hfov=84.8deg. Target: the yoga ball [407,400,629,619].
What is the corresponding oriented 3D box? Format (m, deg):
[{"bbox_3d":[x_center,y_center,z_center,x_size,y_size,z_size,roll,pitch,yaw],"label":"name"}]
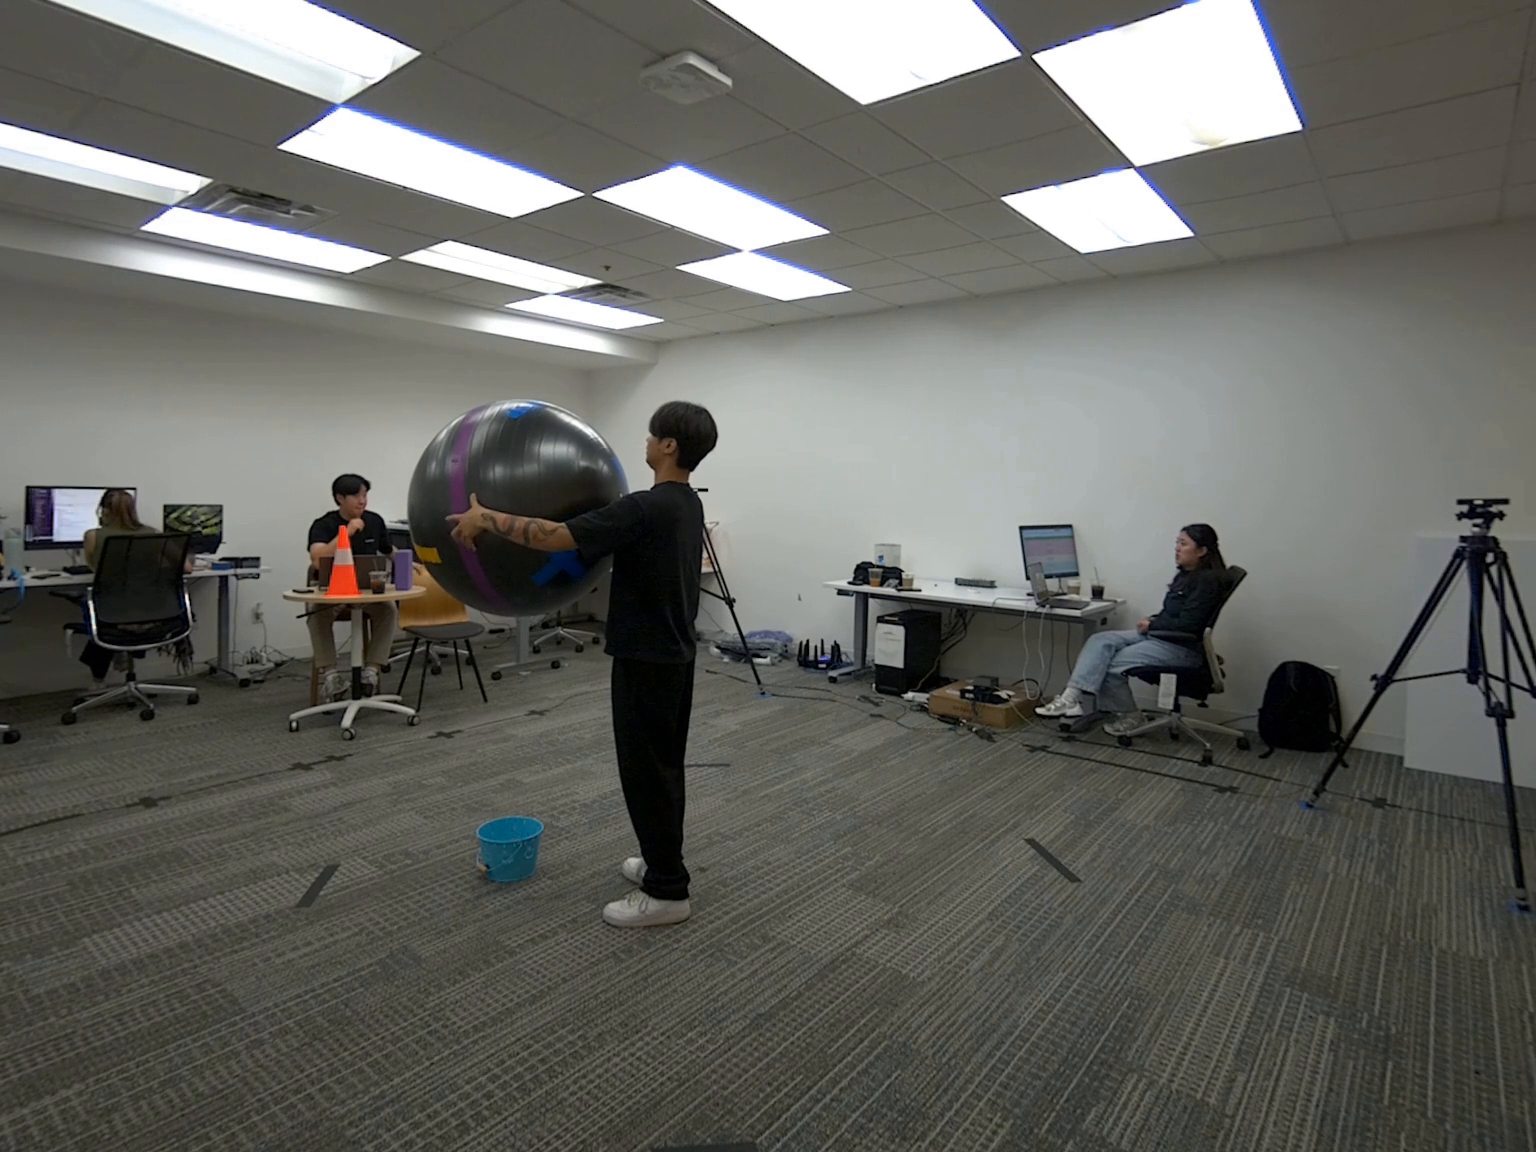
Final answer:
[{"bbox_3d":[-0.887,-0.237,2.984,0.757,0.756,0.762,1,4,-2],"label":"yoga ball"}]
